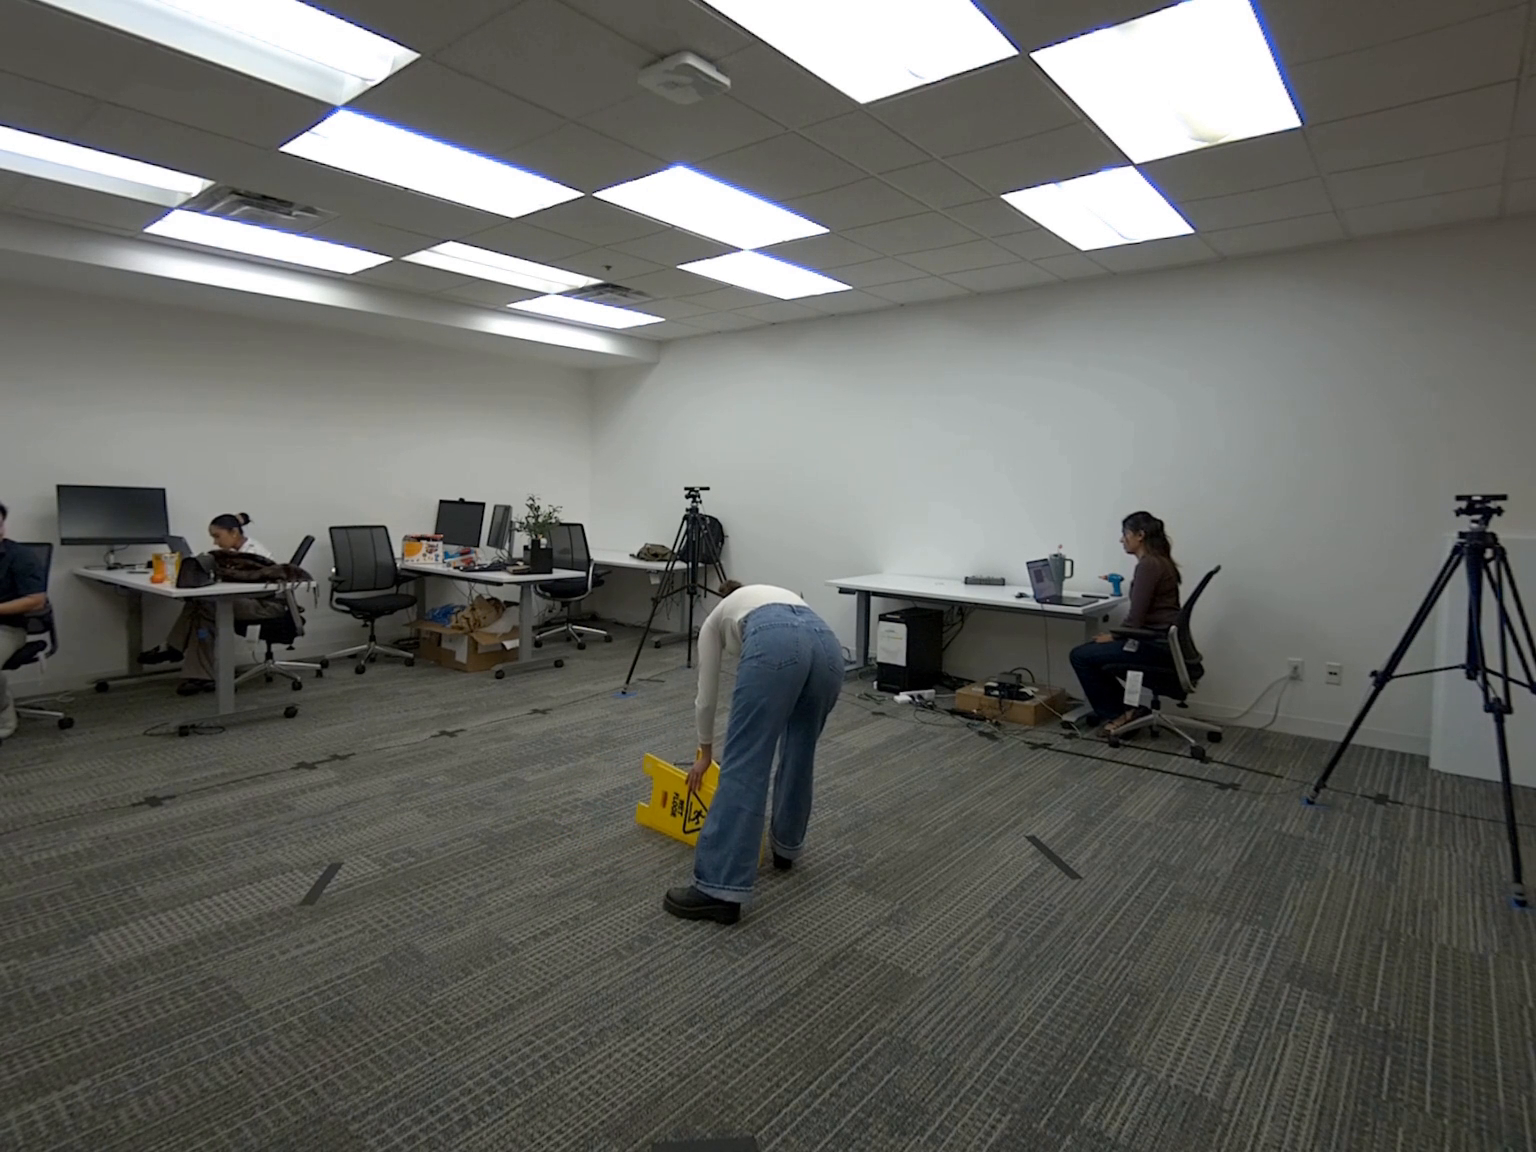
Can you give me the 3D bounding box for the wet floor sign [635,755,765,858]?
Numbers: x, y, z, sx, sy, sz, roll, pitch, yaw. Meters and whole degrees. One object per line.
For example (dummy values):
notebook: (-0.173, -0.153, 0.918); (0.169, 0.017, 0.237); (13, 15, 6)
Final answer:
wet floor sign: (-0.235, 0.913, 3.317); (0.280, 0.281, 0.669); (5, 5, -37)
